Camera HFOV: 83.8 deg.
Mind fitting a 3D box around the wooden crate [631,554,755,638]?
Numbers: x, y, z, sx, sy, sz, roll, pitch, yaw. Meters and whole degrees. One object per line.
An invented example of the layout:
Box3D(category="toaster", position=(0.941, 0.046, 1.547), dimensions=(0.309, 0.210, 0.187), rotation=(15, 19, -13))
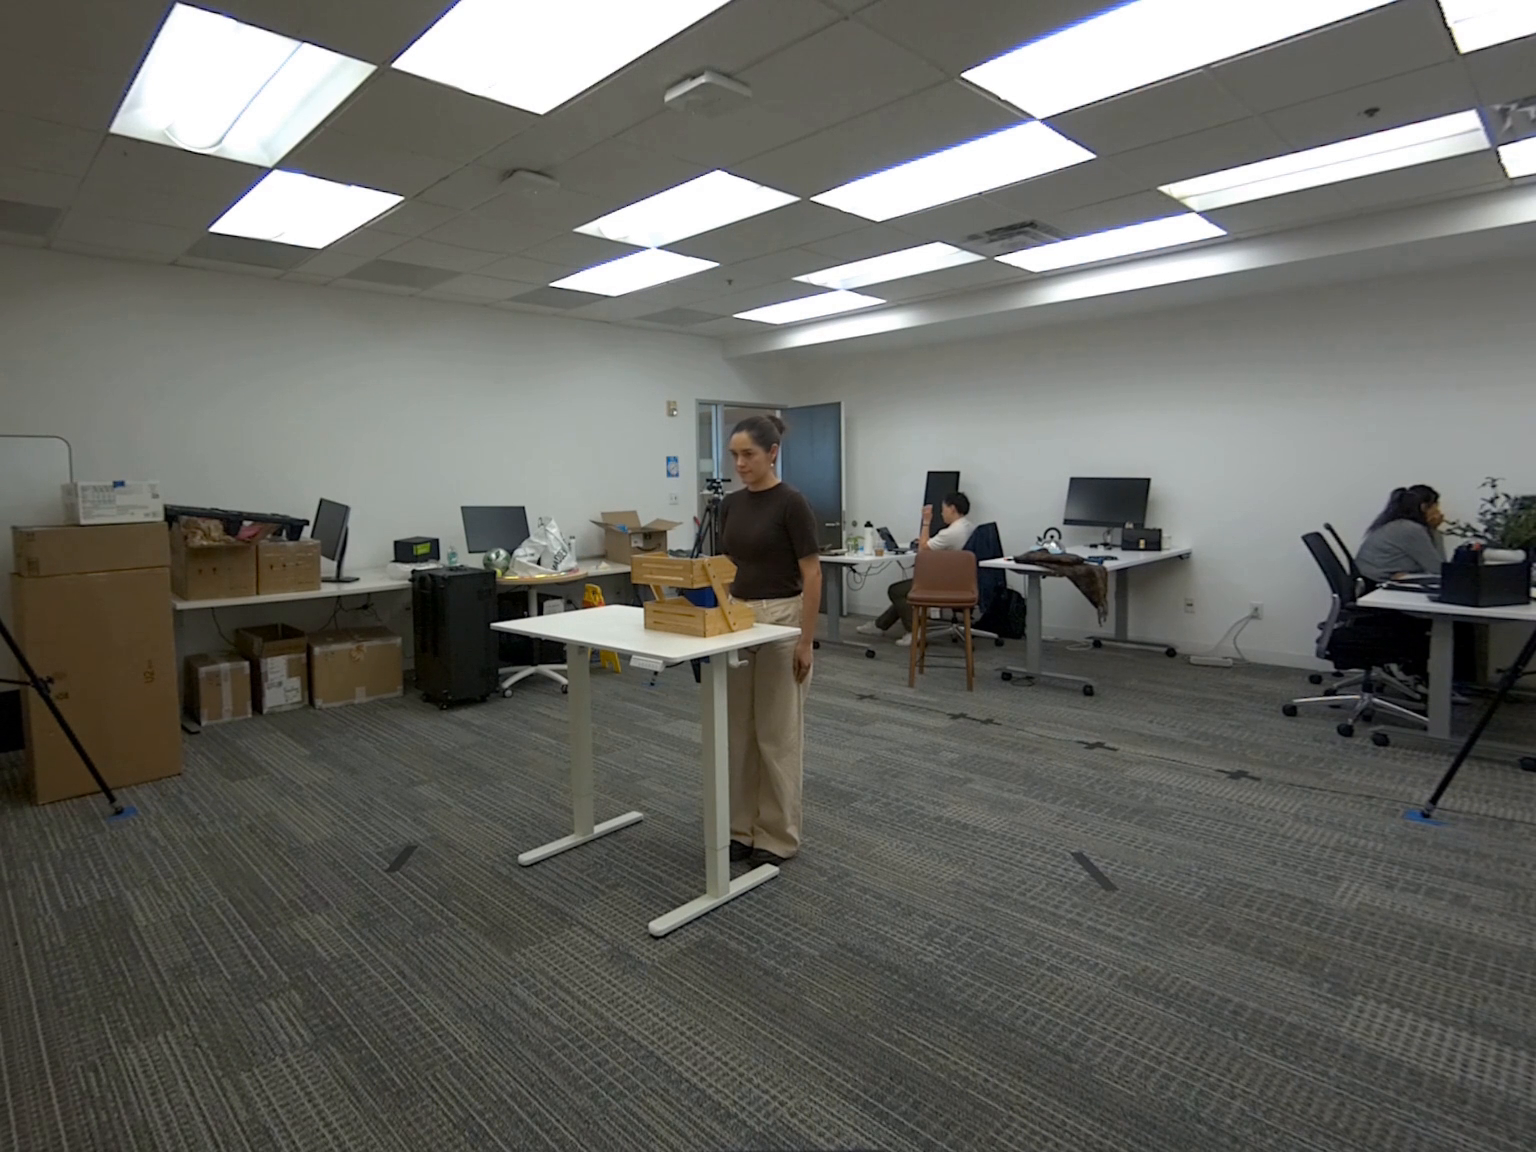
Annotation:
Box3D(category="wooden crate", position=(-0.250, 0.049, 2.939), dimensions=(0.334, 0.272, 0.294), rotation=(3, 7, 41))
